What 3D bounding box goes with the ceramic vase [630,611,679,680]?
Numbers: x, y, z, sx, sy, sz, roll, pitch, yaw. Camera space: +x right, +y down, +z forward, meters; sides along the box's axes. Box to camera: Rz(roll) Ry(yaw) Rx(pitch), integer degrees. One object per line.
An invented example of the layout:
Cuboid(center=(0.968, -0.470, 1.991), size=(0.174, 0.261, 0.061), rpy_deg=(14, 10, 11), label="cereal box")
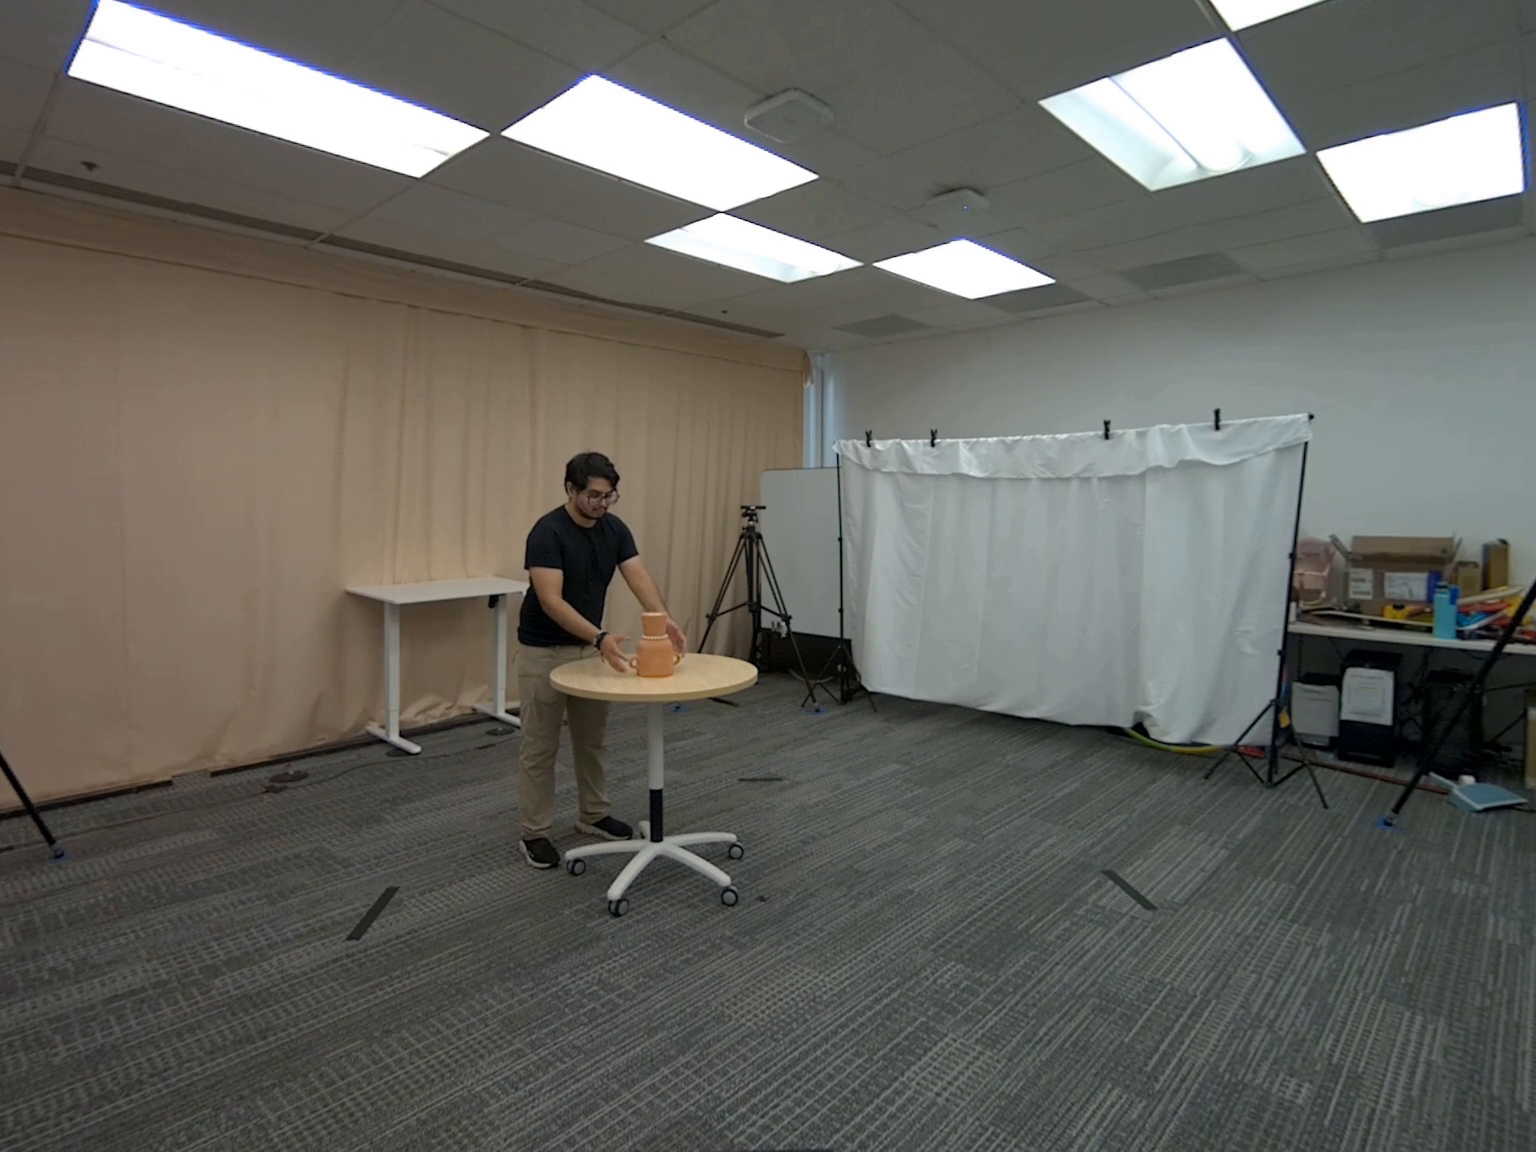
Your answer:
Cuboid(center=(-0.417, 0.250, 3.063), size=(0.138, 0.219, 0.155), rpy_deg=(1, 4, 23), label="ceramic vase")
